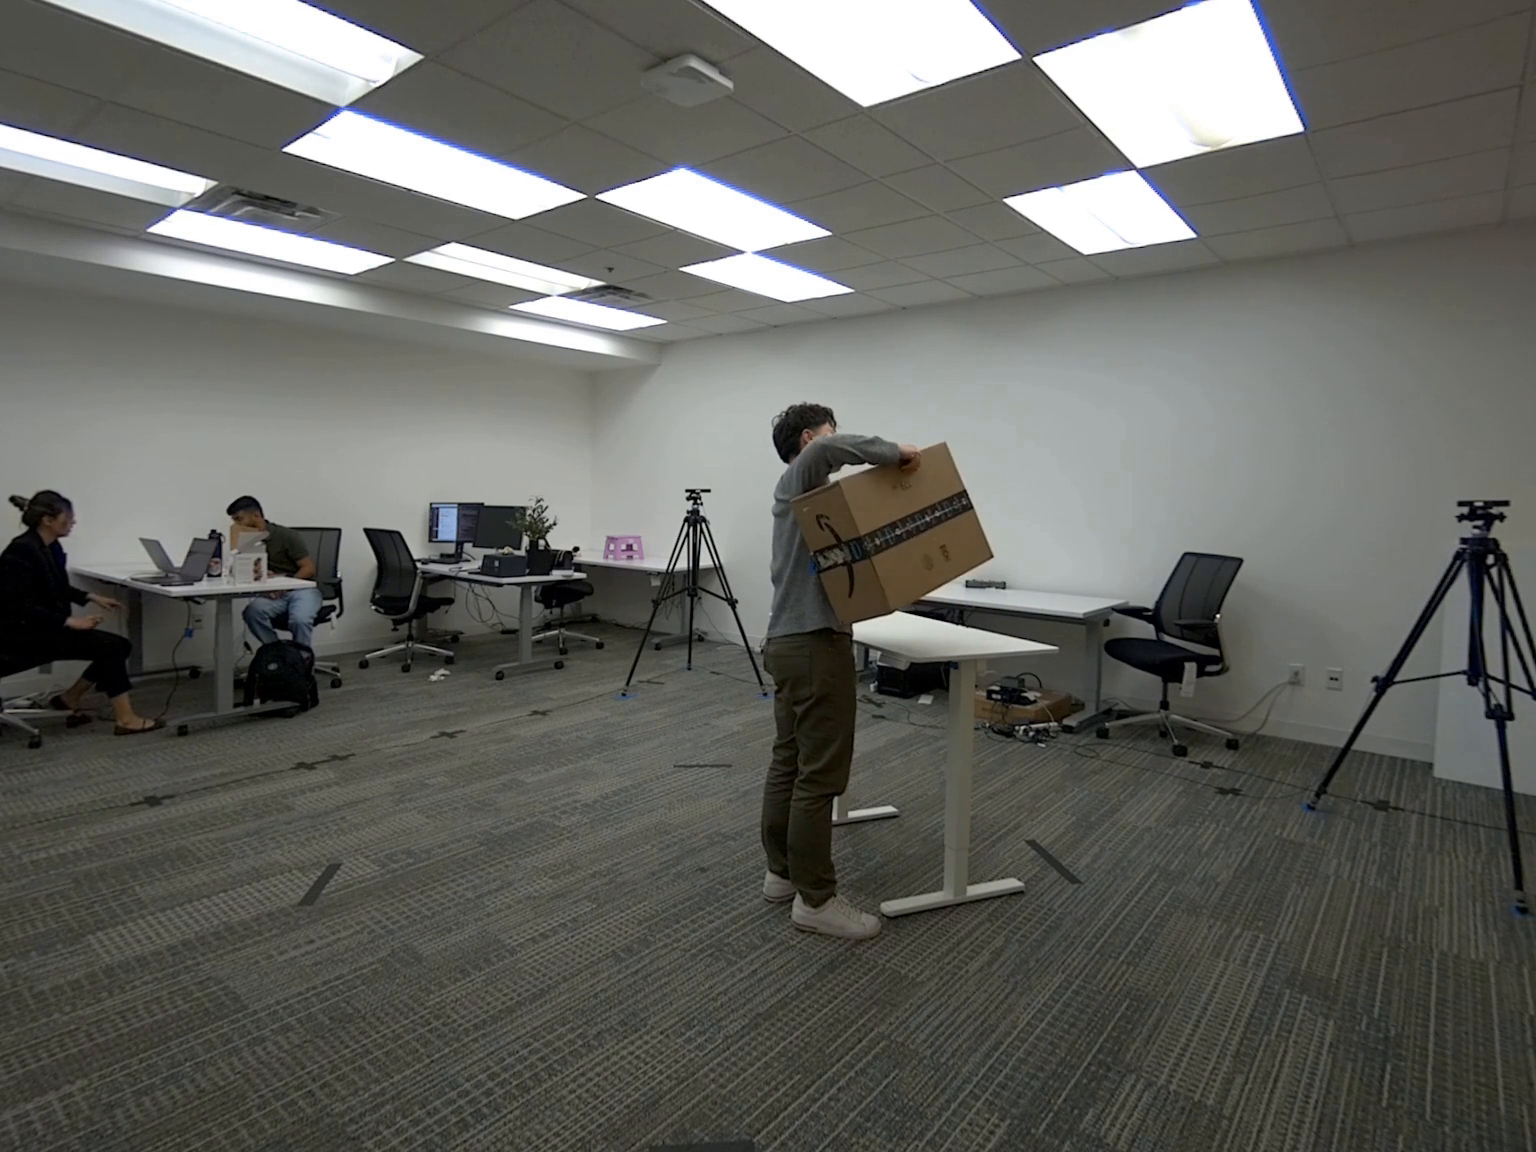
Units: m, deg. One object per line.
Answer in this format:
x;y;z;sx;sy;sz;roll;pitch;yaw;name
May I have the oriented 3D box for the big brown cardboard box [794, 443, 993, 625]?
0.396;-0.143;2.686;0.578;0.418;0.237;-23;0;-40;big brown cardboard box
